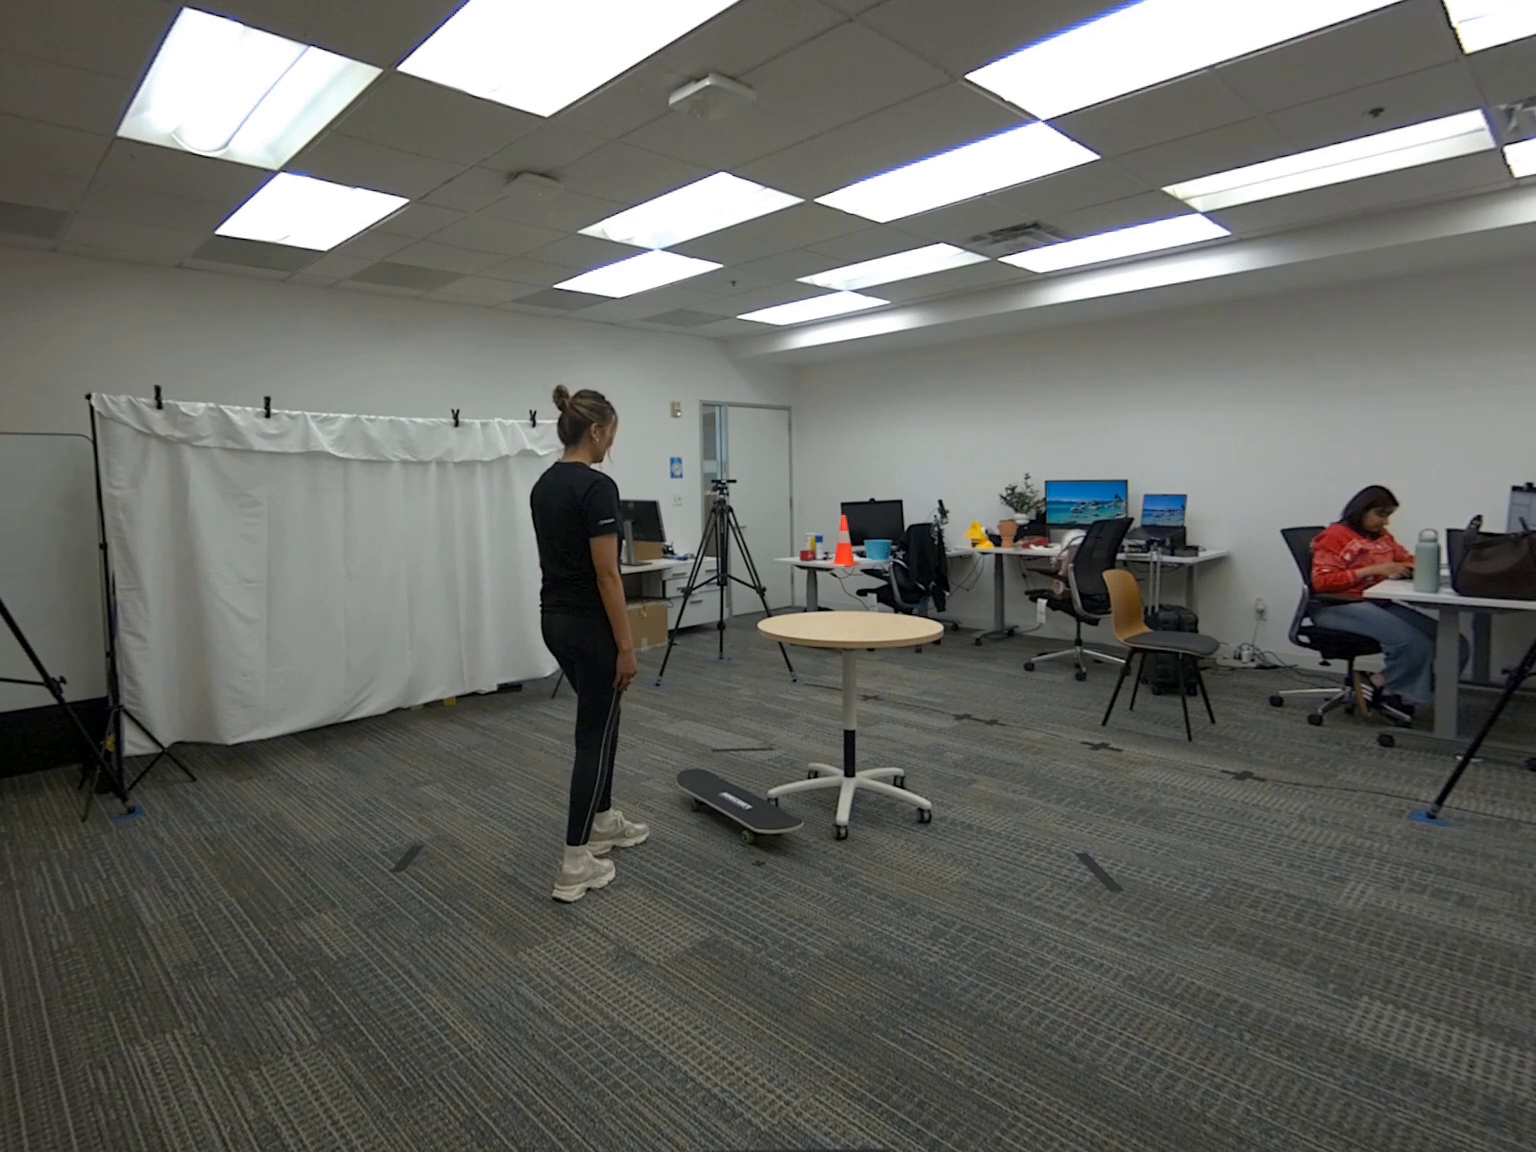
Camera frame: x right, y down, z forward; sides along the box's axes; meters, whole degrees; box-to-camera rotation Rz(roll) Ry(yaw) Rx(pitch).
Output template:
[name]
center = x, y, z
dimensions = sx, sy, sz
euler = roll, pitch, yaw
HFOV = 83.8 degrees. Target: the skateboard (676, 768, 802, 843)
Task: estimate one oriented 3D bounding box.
[skateboard]
center = -0.127, 0.951, 3.493
dimensions = 0.189, 0.110, 0.809
euler = -6, 8, -35
